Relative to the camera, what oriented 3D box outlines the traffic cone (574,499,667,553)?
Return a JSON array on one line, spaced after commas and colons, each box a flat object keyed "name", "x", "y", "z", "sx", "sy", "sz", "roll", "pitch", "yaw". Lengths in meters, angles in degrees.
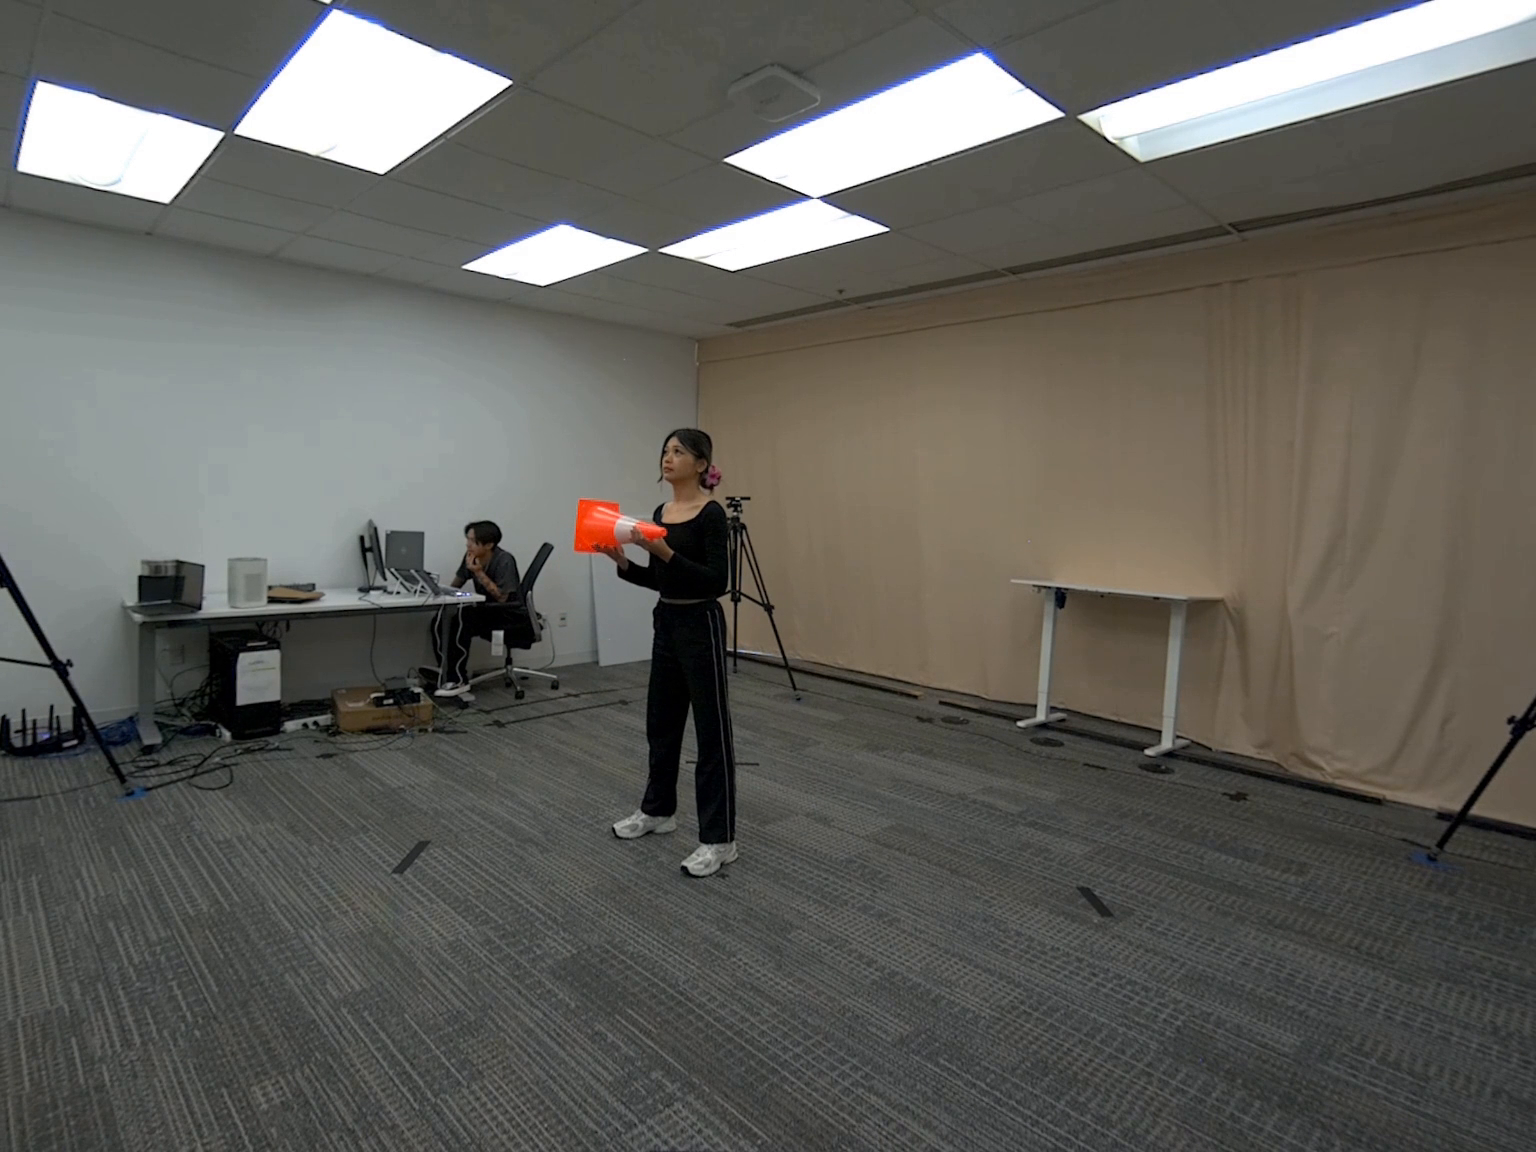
[{"name": "traffic cone", "x": -0.504, "y": -0.169, "z": 3.052, "sx": 0.393, "sy": 0.205, "sz": 0.198, "roll": 6, "pitch": 2, "yaw": 43}]
